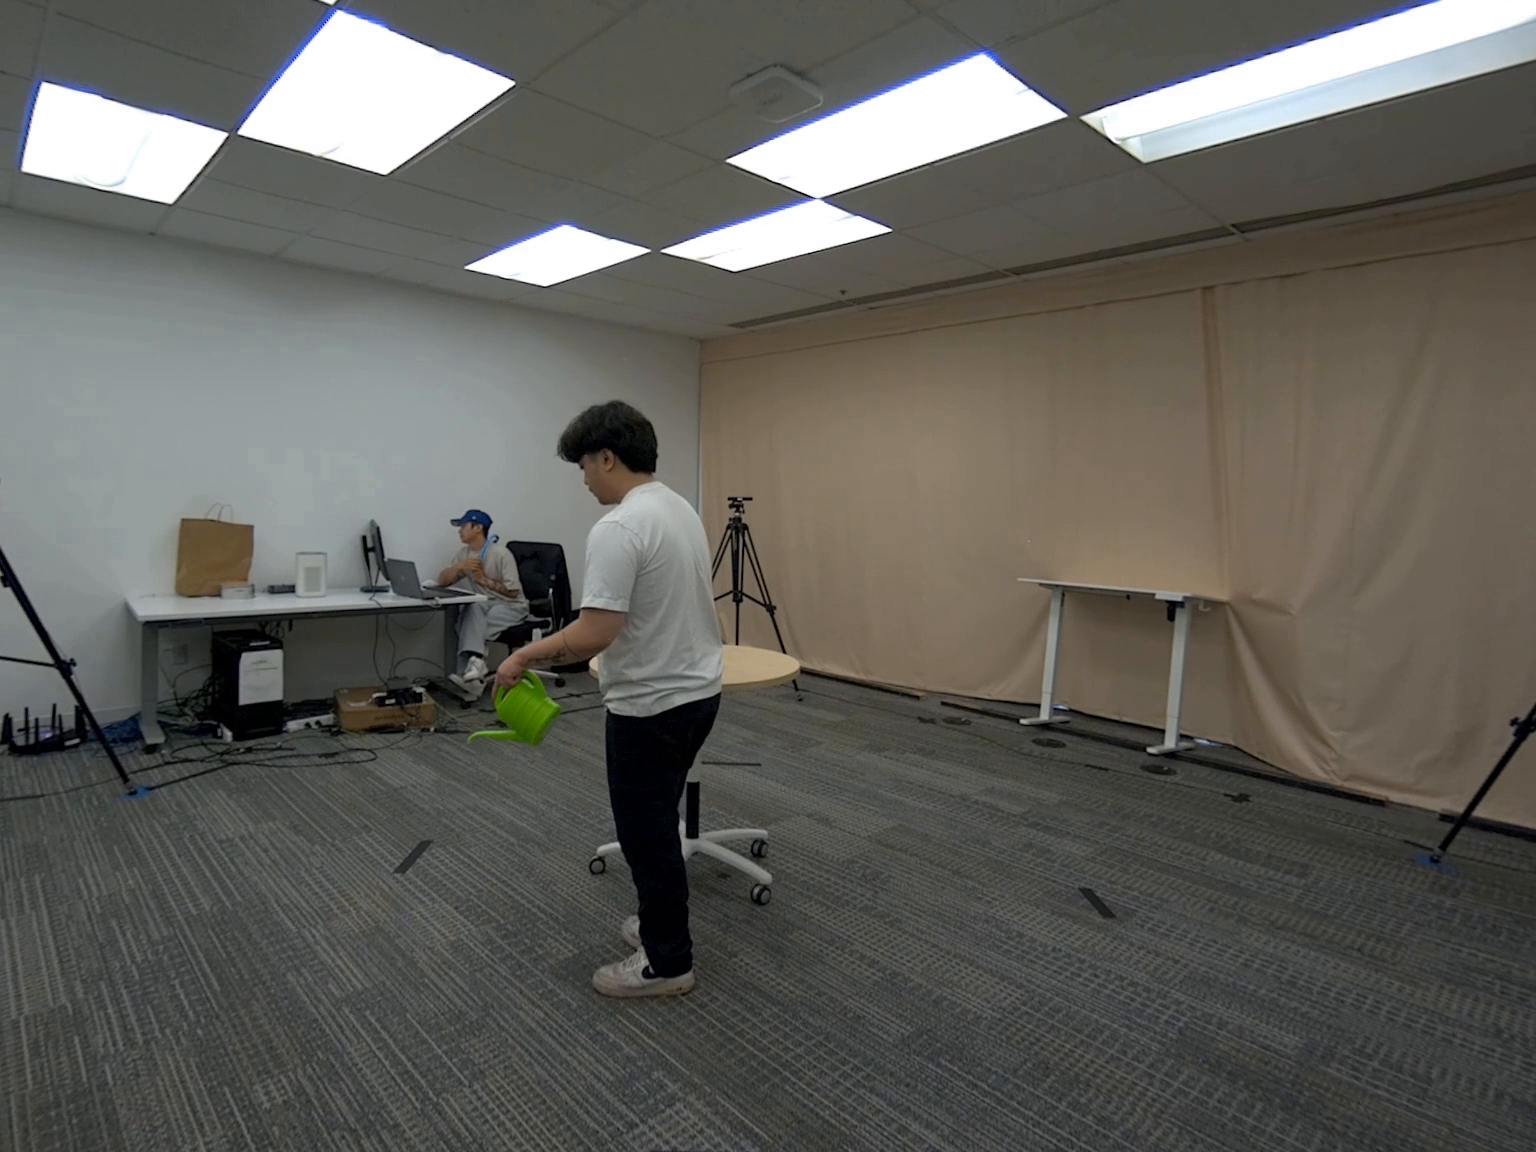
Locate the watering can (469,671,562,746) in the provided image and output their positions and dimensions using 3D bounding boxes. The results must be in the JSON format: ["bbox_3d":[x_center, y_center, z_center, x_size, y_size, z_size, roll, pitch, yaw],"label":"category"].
[{"bbox_3d":[-0.676,0.390,2.281,0.179,0.277,0.097,37,21,10],"label":"watering can"}]
